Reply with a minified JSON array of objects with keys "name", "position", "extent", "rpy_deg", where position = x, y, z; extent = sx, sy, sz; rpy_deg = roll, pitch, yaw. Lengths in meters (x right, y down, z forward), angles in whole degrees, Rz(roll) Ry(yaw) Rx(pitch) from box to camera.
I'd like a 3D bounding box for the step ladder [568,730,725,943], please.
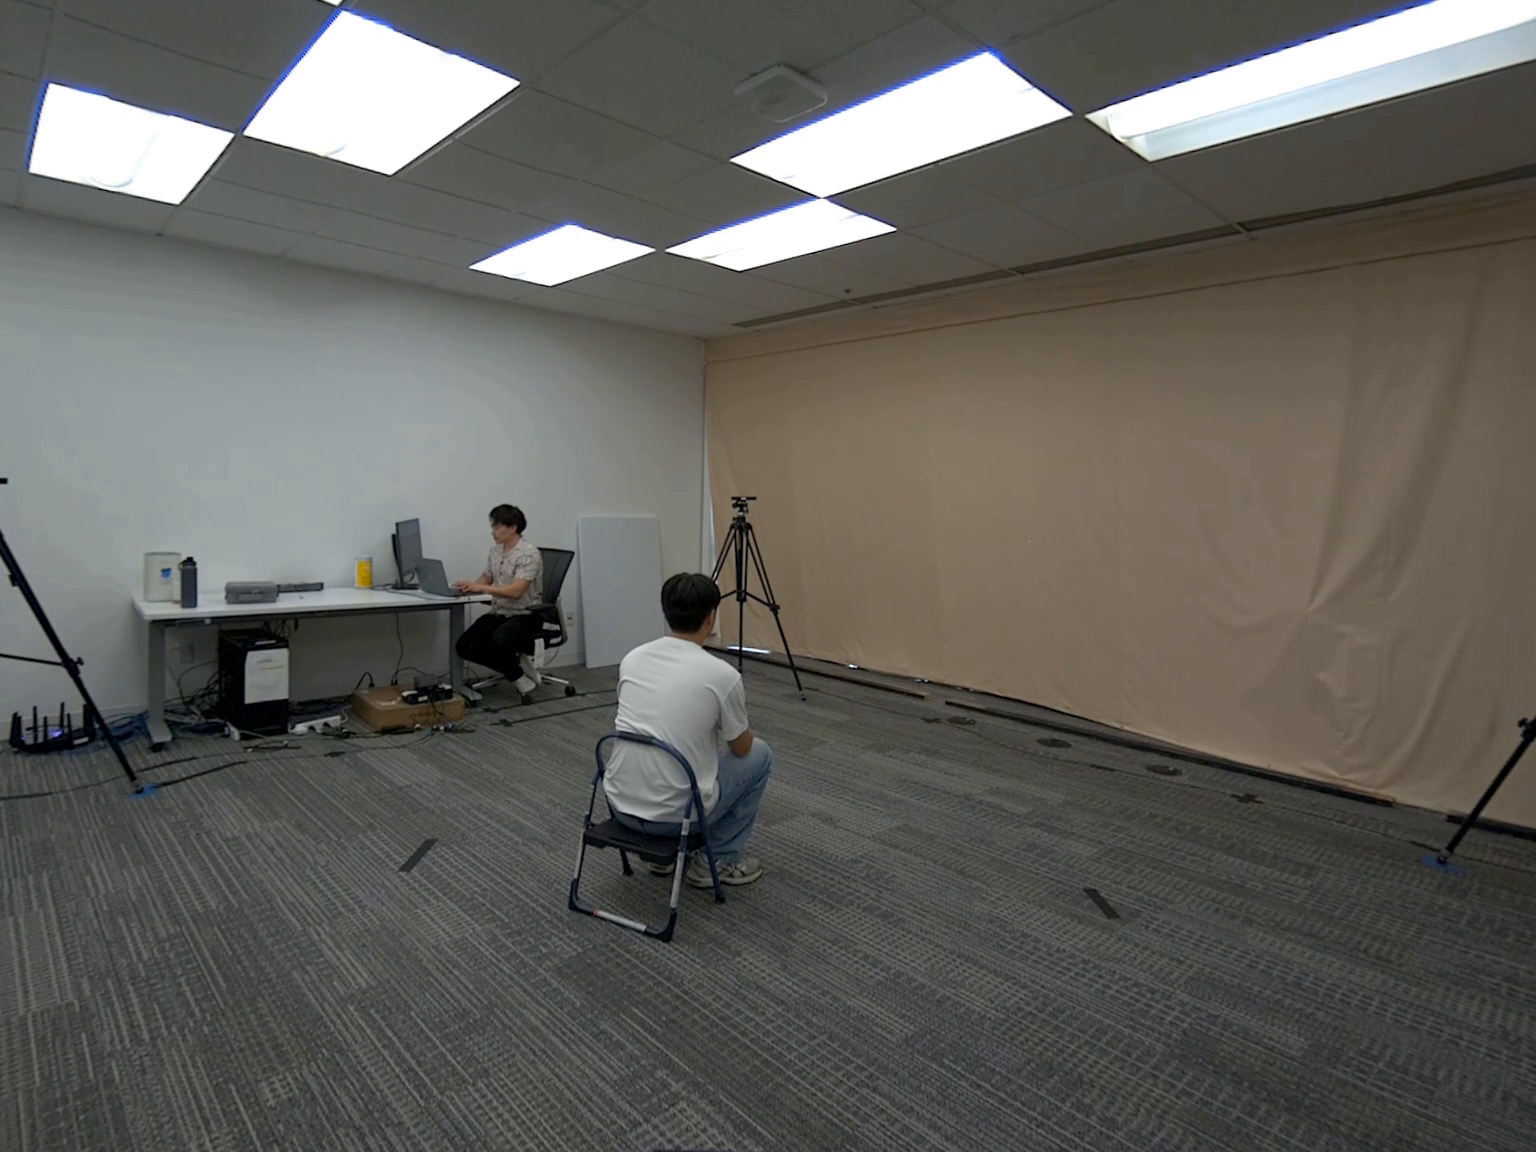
[{"name":"step ladder","position":[-0.418,0.825,2.849],"extent":[0.440,0.604,0.343],"rpy_deg":[3,4,29]}]
